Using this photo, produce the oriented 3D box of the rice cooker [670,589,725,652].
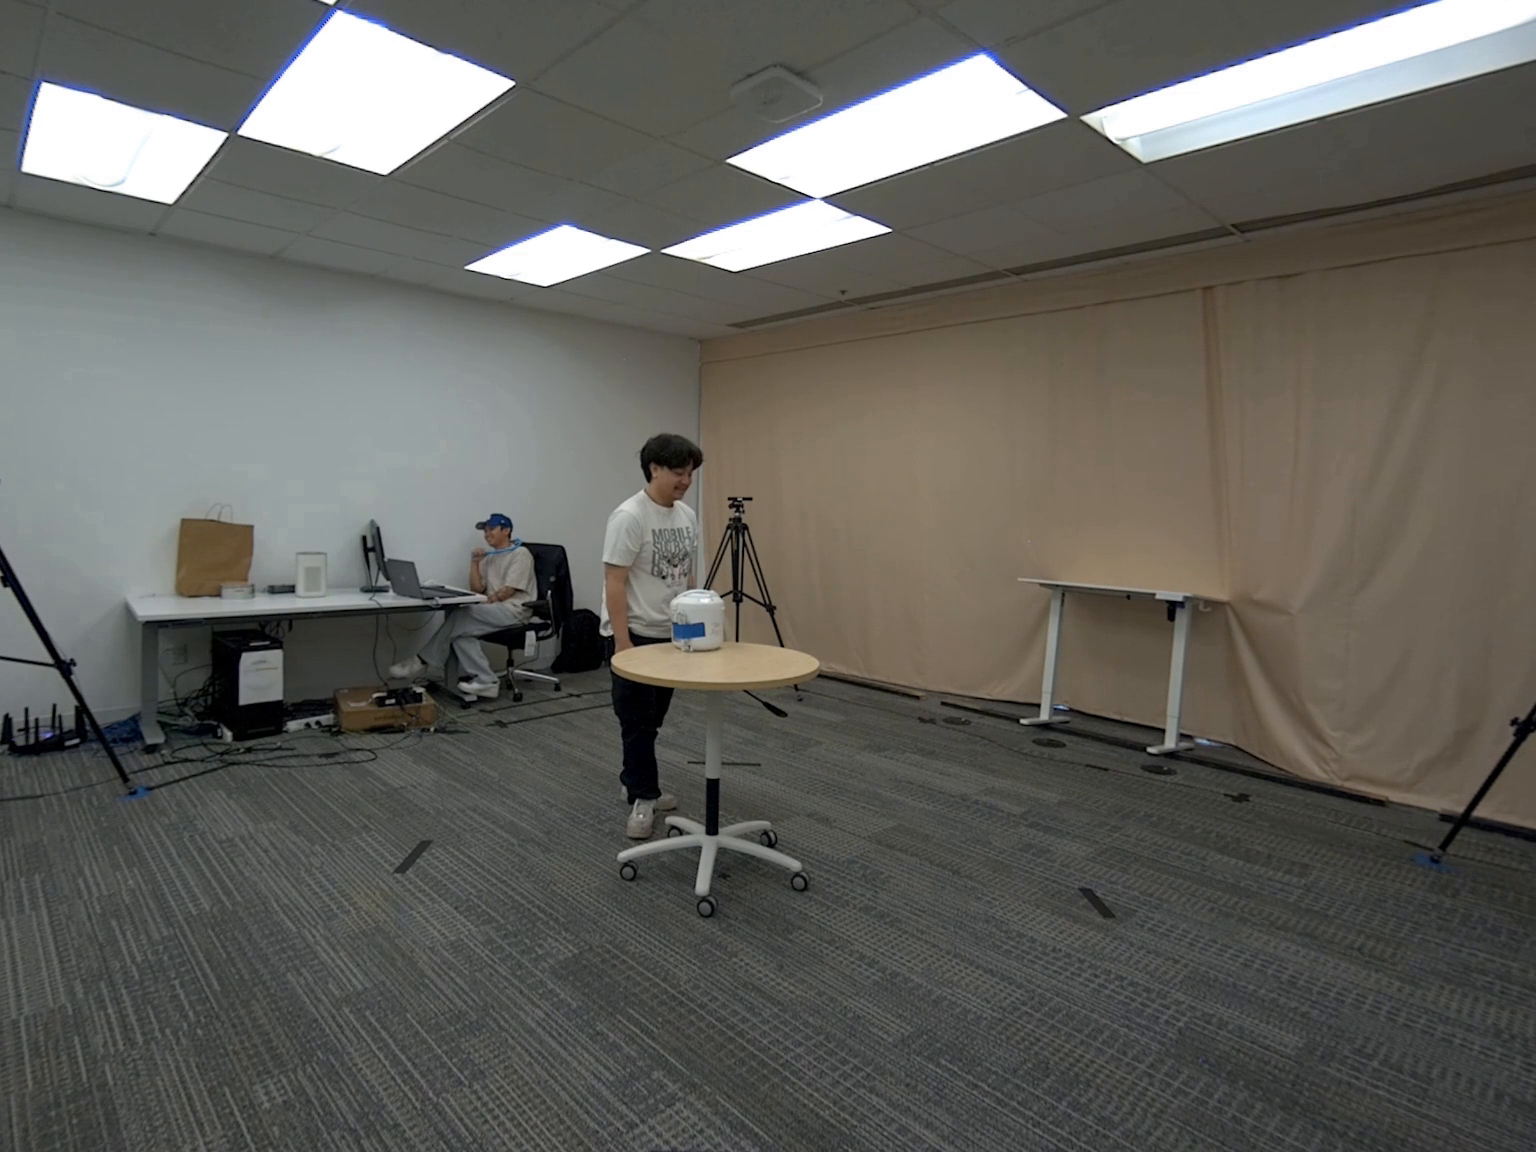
[{"bbox_3d":[-0.287,0.171,3.341,0.217,0.232,0.221,1,4,-21],"label":"rice cooker"}]
